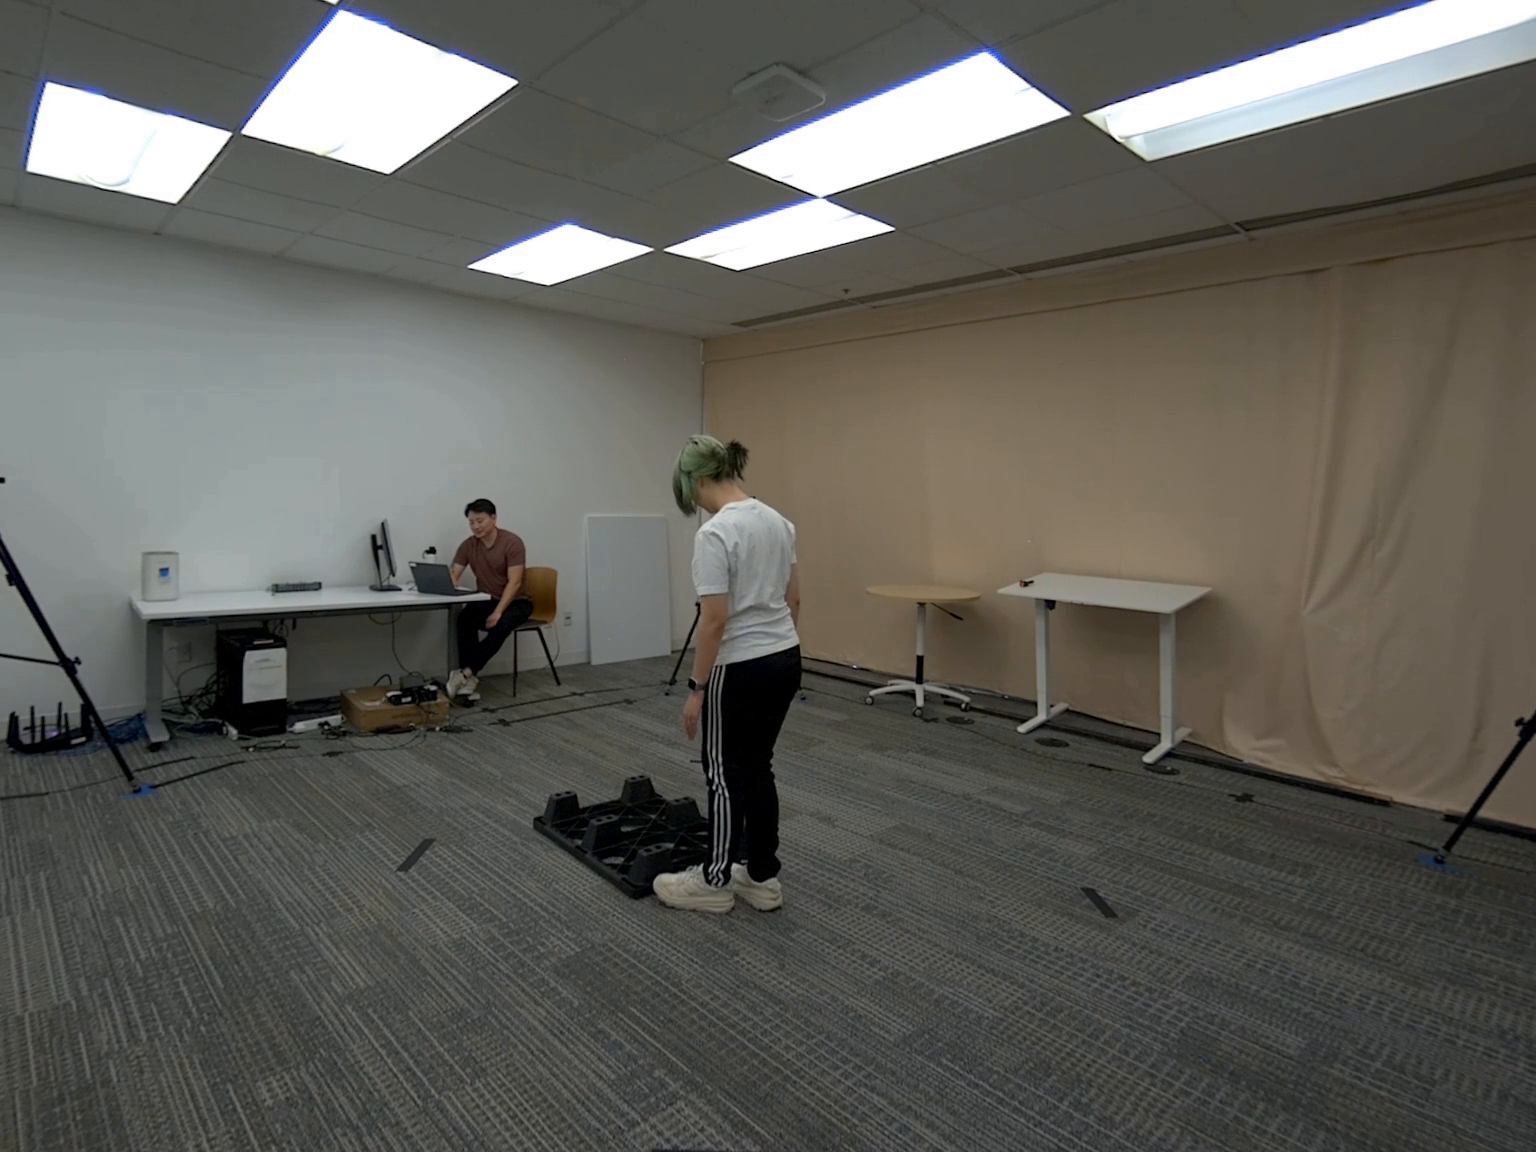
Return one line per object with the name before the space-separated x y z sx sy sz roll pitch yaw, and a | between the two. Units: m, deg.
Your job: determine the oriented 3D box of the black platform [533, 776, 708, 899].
black platform | -0.498 1.006 3.384 0.592 0.143 0.826 -4 7 -40
